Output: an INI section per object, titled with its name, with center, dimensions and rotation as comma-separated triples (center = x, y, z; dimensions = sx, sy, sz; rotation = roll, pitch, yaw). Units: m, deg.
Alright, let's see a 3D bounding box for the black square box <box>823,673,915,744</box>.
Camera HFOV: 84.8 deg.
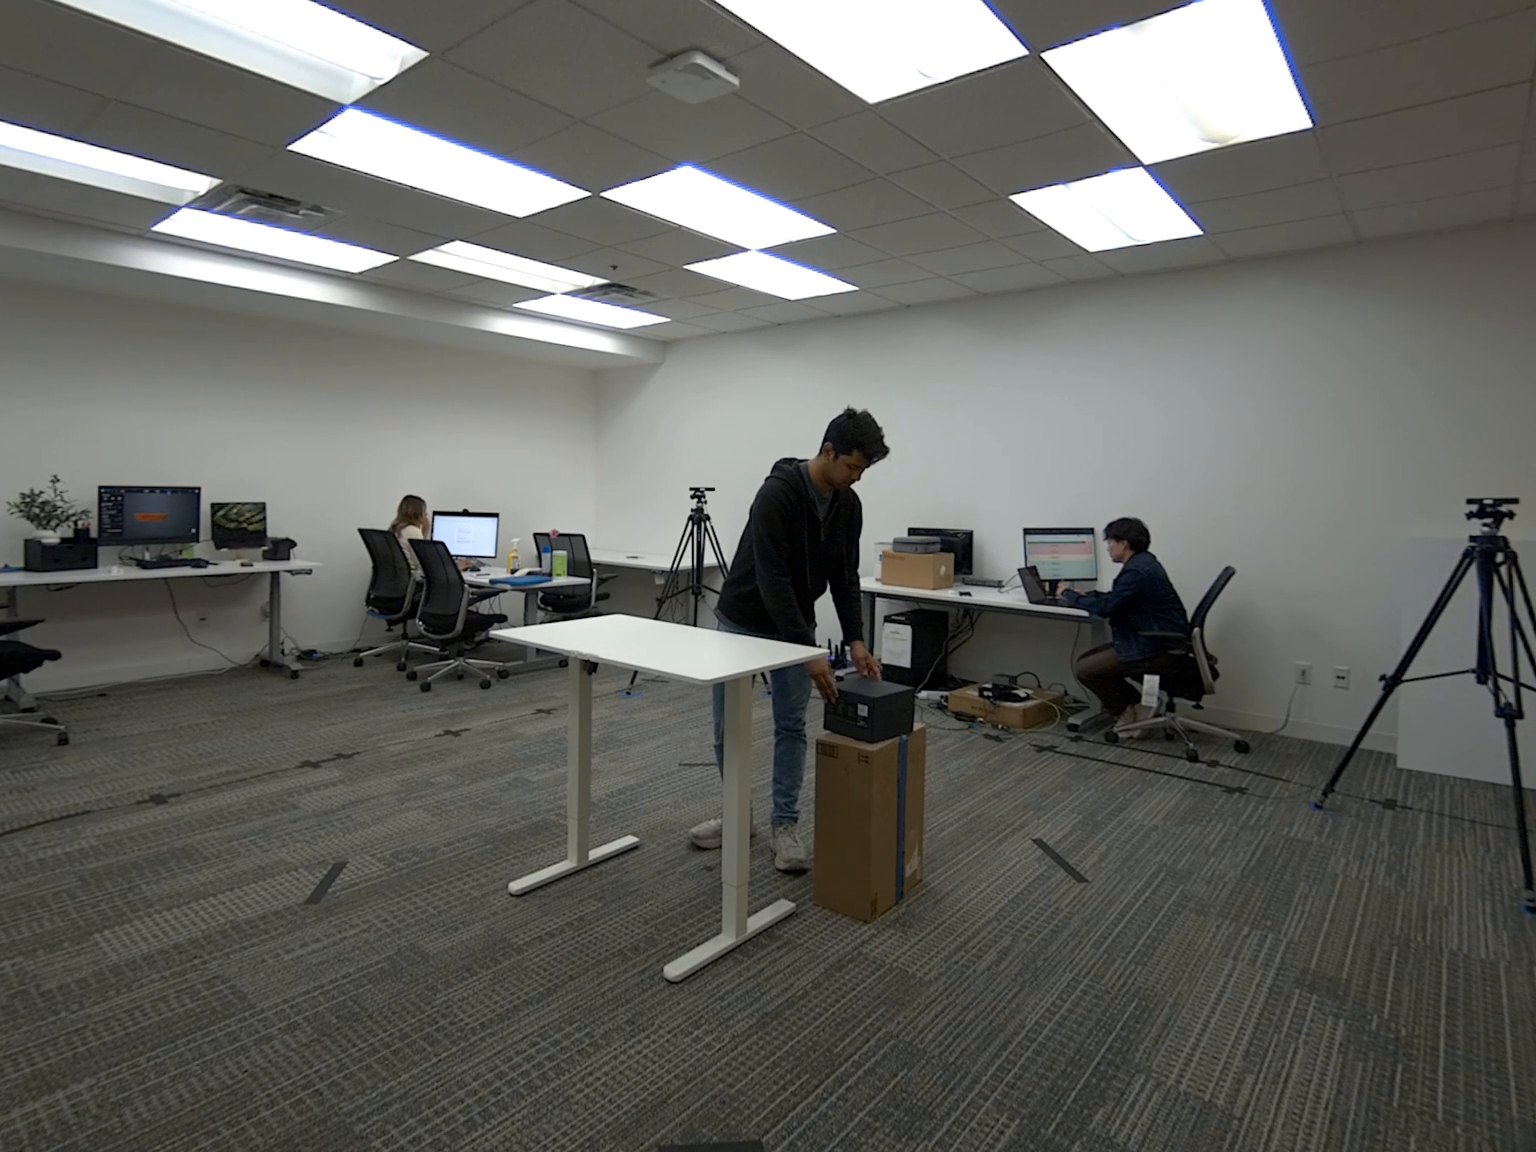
[black square box]
center = 0.343, 0.449, 2.915
dimensions = 0.221, 0.155, 0.224
rotation = -4, 8, -44
